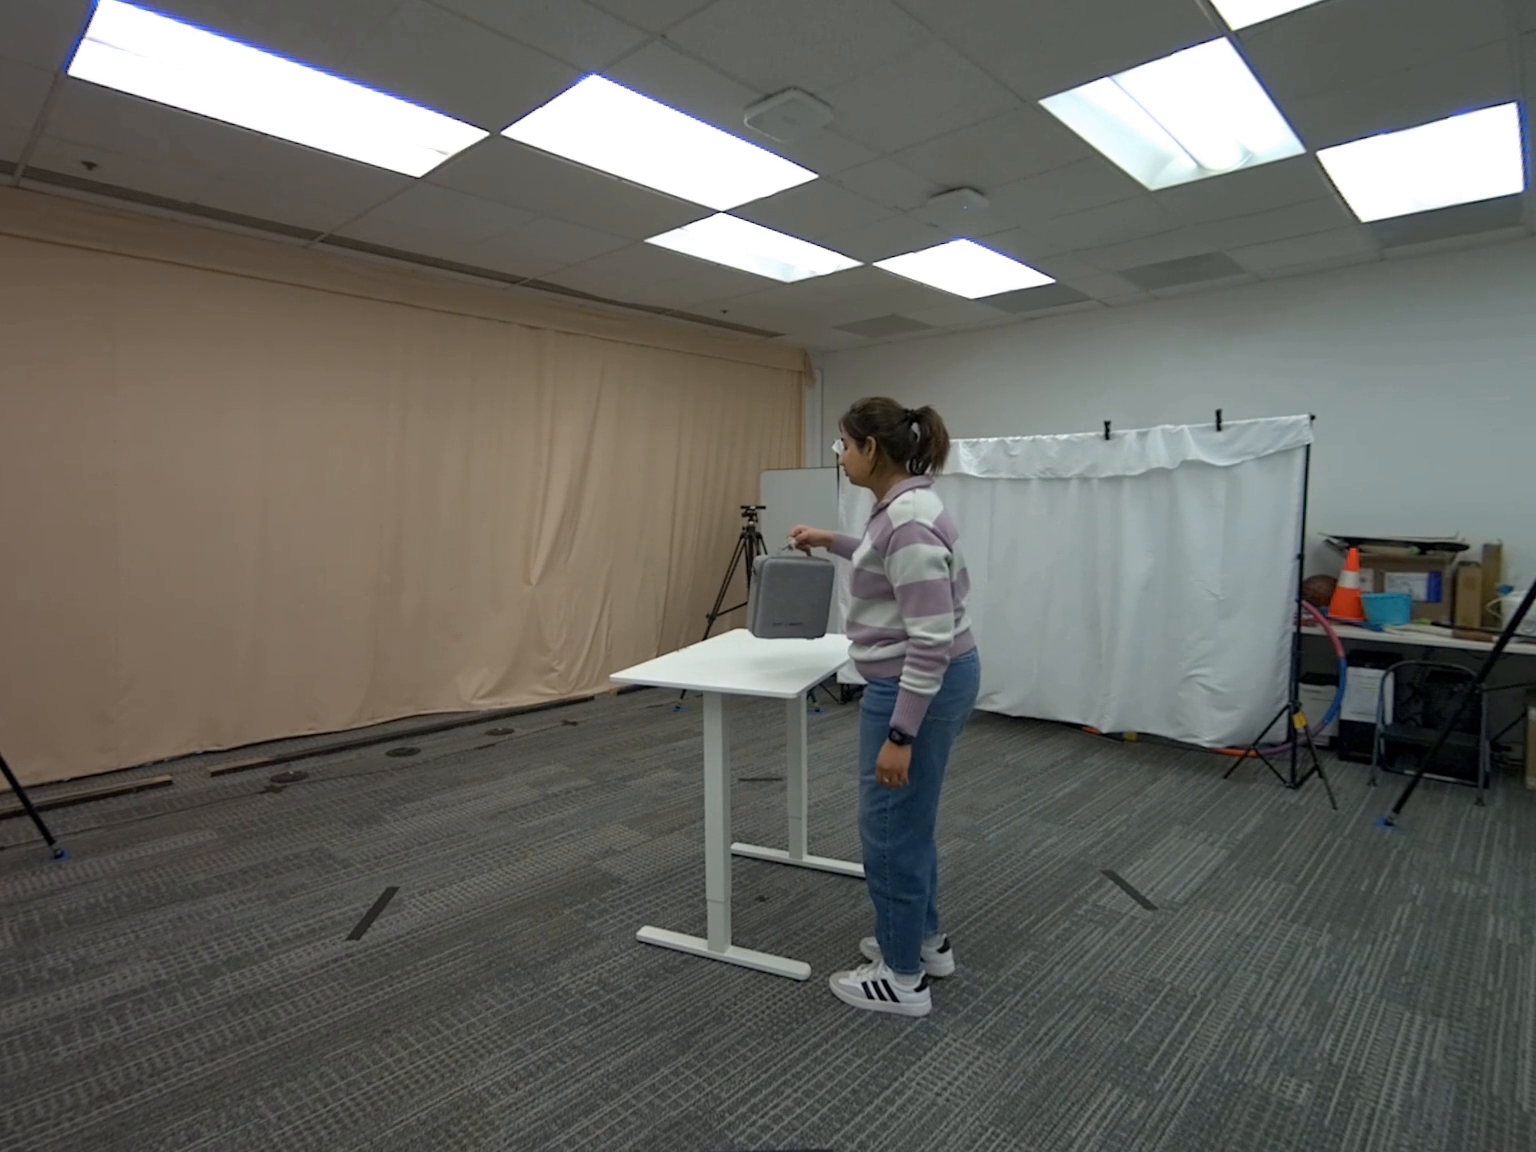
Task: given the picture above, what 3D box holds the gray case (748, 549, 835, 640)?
[{"bbox_3d":[0.077,0.065,2.605,0.250,0.260,0.107,4,7,-25],"label":"gray case"}]
